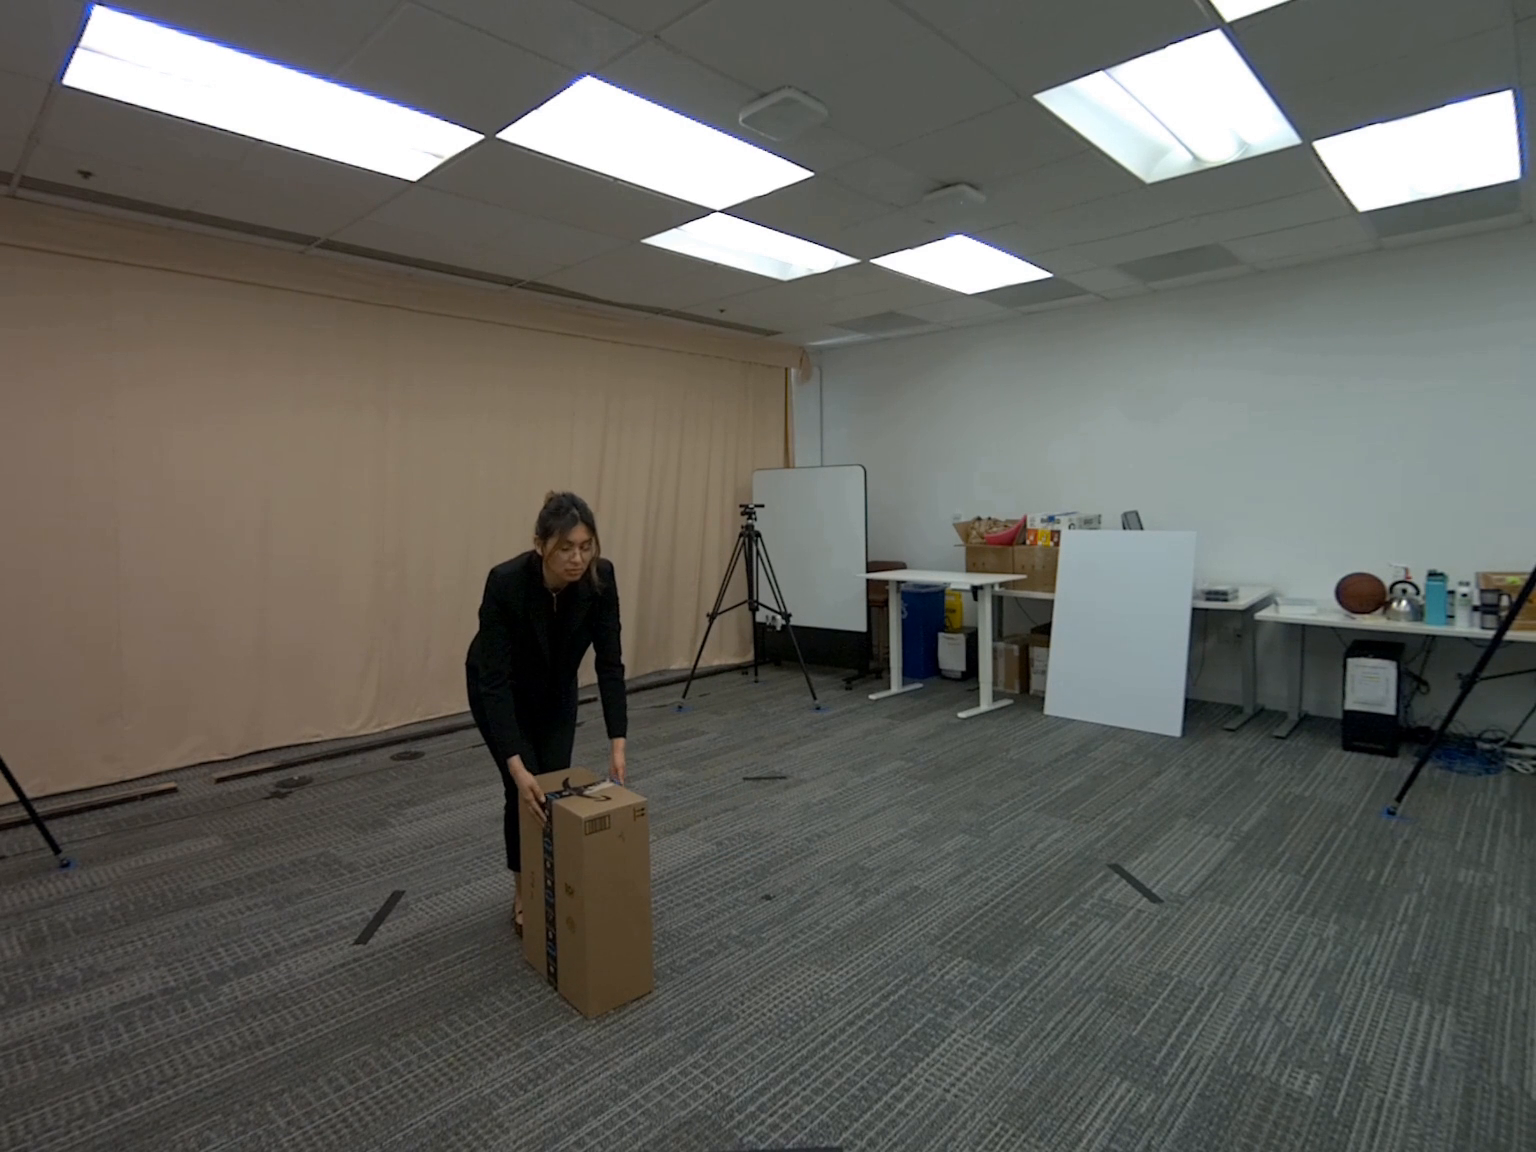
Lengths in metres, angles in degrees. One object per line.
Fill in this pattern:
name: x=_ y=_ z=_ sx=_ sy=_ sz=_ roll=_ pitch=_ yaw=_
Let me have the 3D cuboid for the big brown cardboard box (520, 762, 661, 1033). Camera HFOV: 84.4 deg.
big brown cardboard box: x=-0.538 y=0.913 z=2.502 sx=0.226 sy=0.587 sz=0.431 roll=-4 pitch=5 yaw=-39
